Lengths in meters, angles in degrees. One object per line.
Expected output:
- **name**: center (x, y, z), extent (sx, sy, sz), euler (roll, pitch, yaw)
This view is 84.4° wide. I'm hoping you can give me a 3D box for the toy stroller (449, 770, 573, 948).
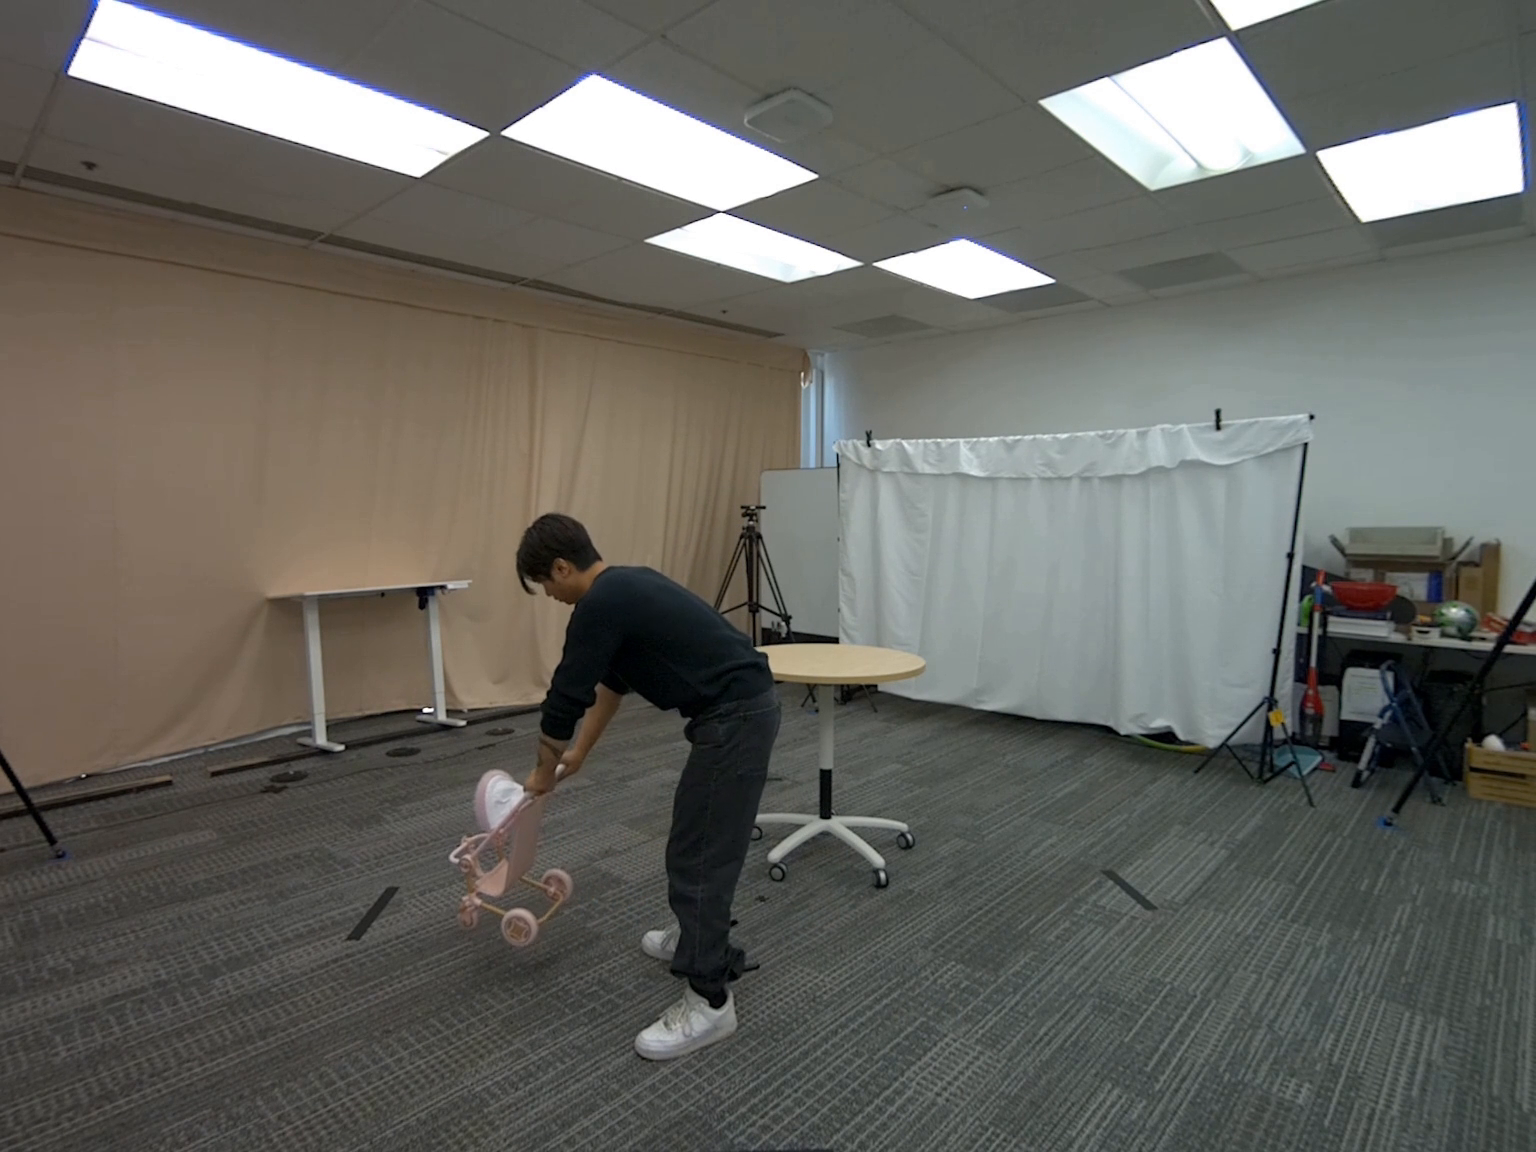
- **toy stroller**: center (-0.793, 0.819, 2.519), extent (0.348, 0.533, 0.277), euler (3, 6, 18)
